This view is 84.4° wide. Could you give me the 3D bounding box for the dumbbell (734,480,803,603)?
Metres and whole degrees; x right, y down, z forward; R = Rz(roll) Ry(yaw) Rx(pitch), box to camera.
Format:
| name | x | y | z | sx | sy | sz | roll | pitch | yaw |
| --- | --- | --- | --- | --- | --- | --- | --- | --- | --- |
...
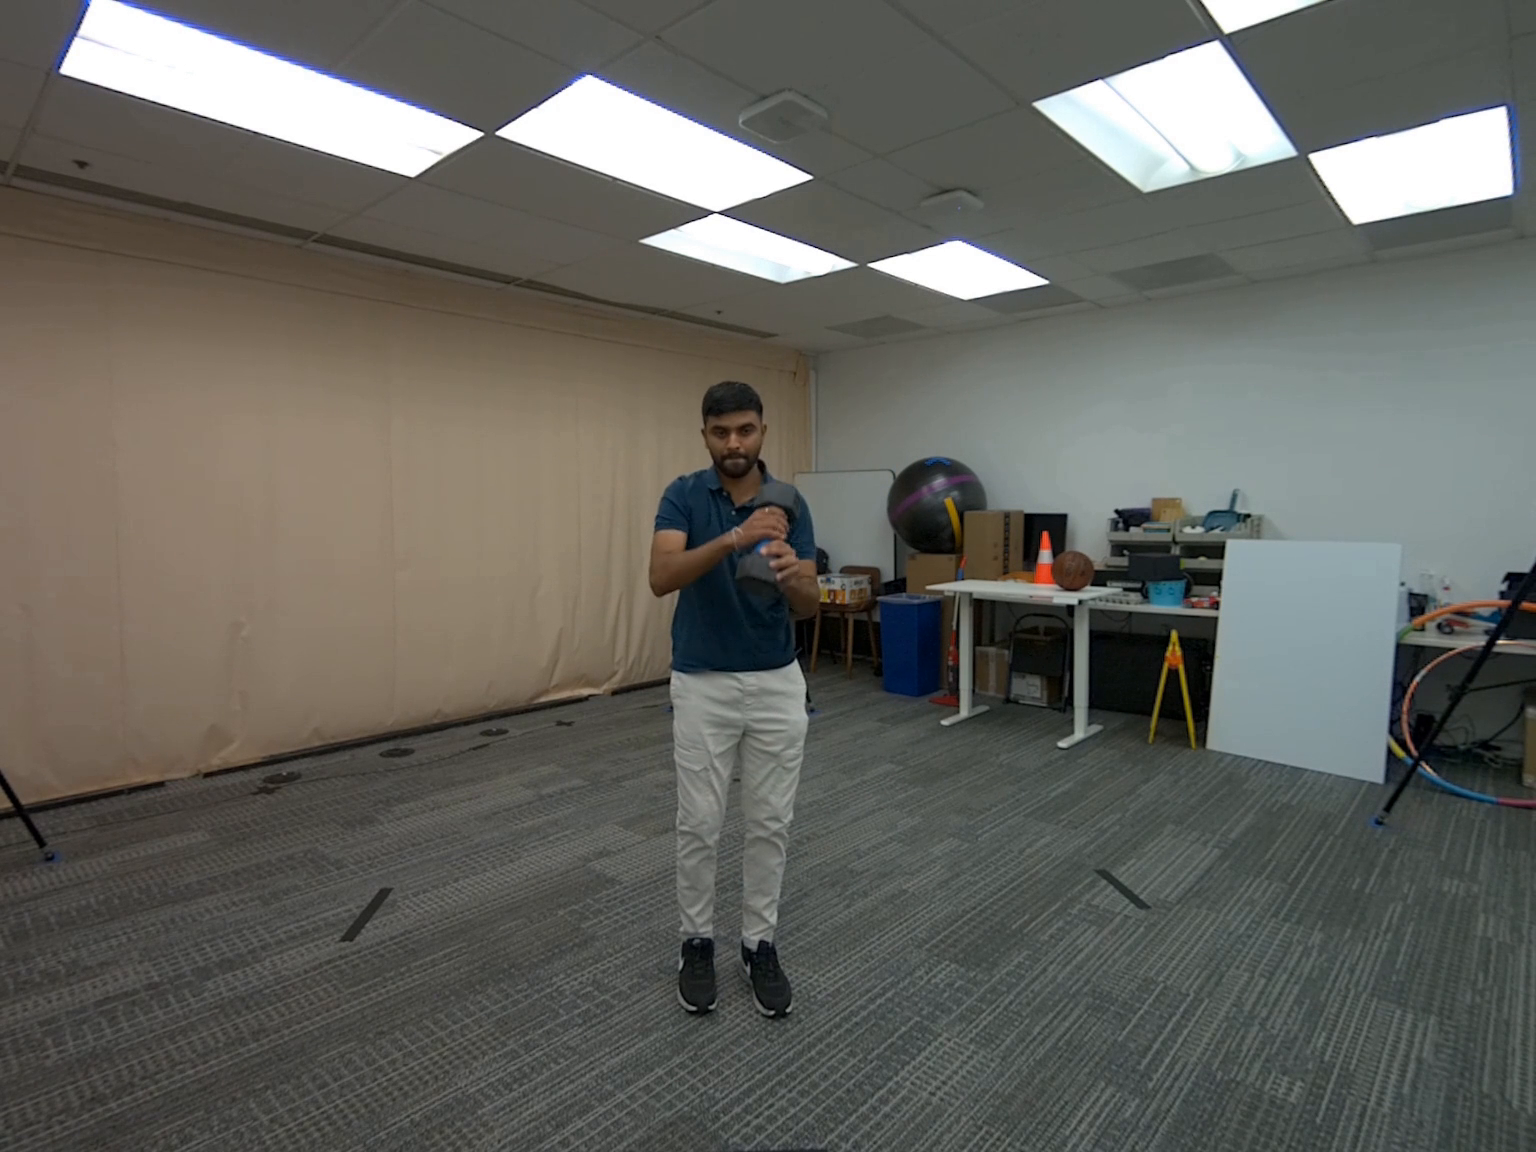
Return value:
| name | x | y | z | sx | sy | sz | roll | pitch | yaw |
| --- | --- | --- | --- | --- | --- | --- | --- | --- | --- |
| dumbbell | 0.007 | -0.099 | 2.164 | 0.105 | 0.295 | 0.126 | 31 | -29 | -29 |
